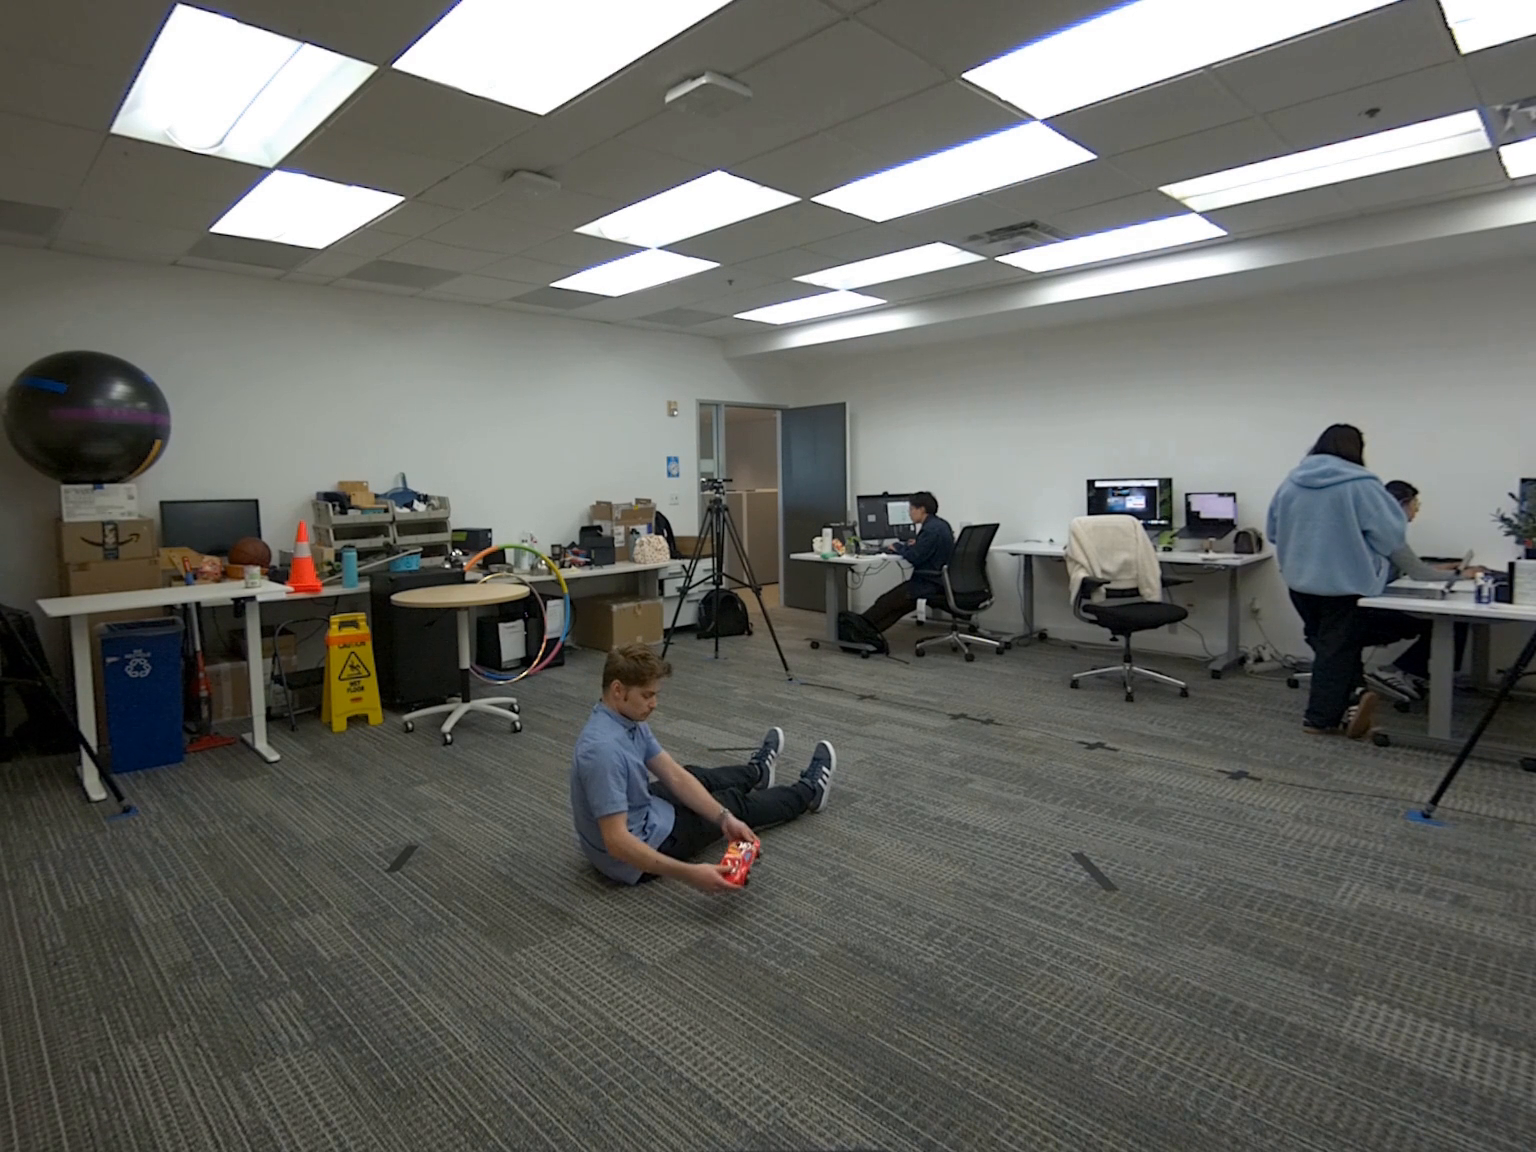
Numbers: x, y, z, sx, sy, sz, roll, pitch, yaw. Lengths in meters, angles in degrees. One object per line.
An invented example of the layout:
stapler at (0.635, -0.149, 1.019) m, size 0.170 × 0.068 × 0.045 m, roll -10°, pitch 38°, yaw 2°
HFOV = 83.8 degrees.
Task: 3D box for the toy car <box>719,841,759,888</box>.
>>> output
toy car at (-0.113, 0.944, 2.832) m, size 0.132 × 0.083 × 0.251 m, roll 0°, pitch 4°, yaw 16°
